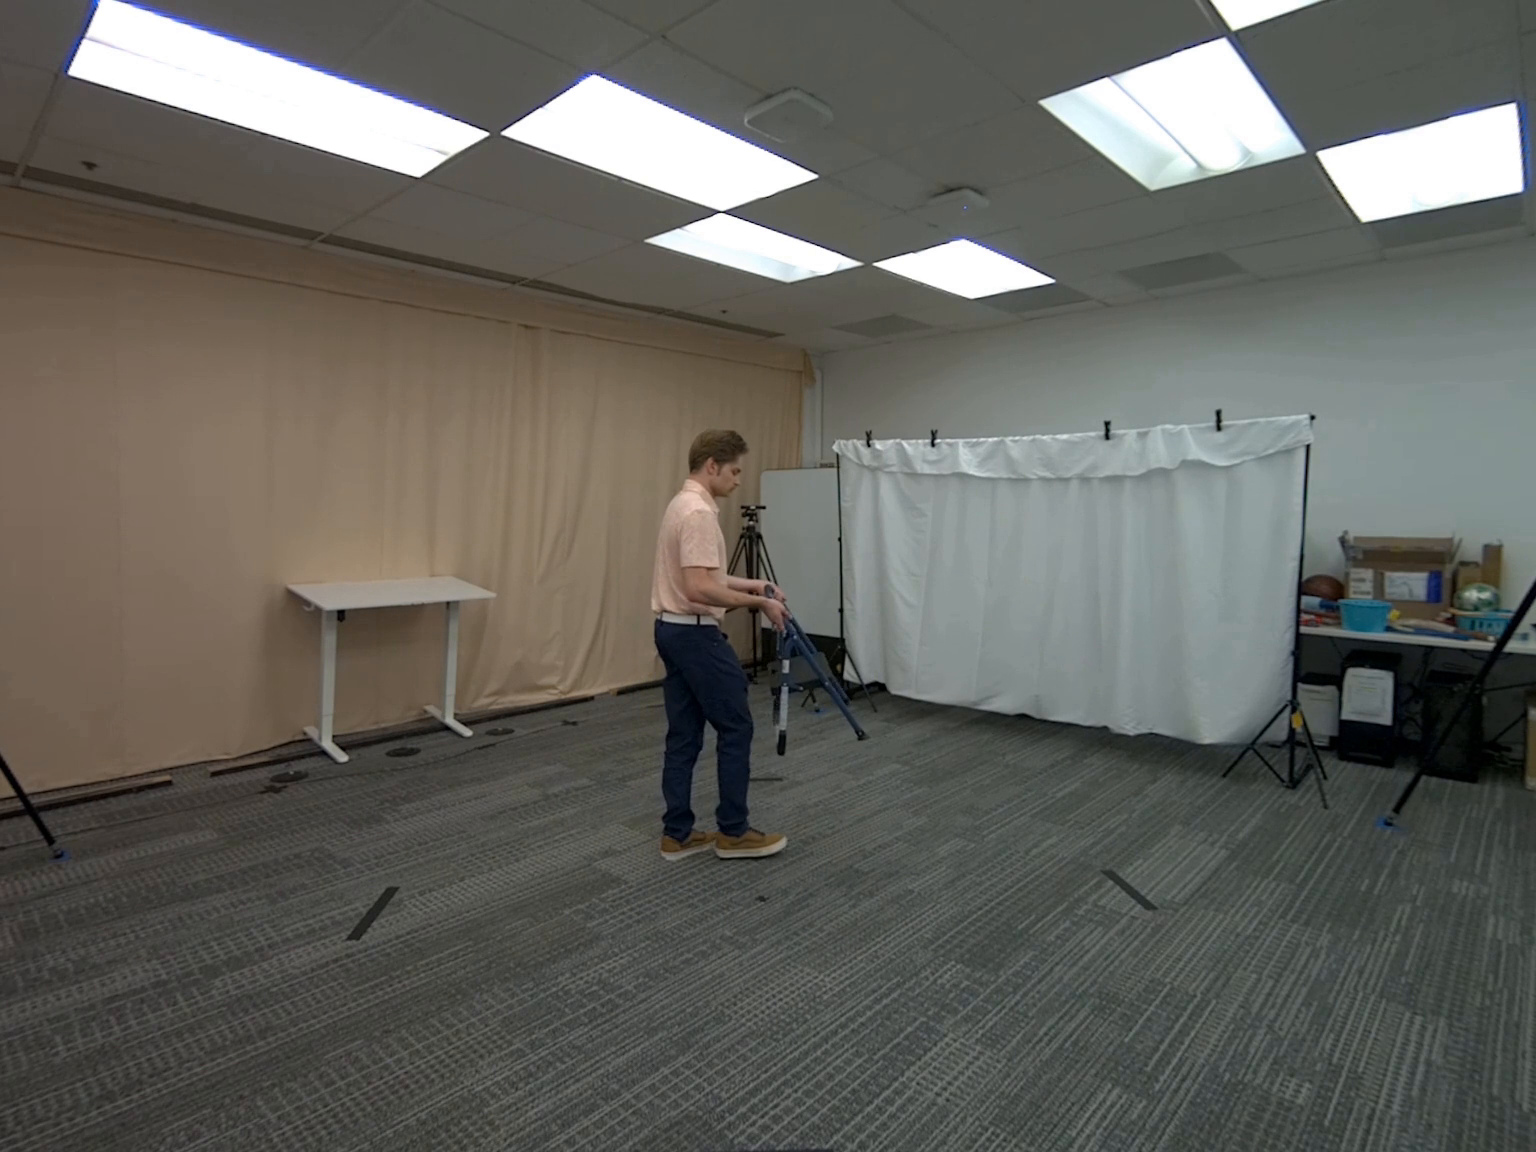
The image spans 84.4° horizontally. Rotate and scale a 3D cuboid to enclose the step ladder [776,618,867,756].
[{"bbox_3d":[0.127,0.331,3.337,0.349,0.602,0.433,-13,8,0],"label":"step ladder"}]
